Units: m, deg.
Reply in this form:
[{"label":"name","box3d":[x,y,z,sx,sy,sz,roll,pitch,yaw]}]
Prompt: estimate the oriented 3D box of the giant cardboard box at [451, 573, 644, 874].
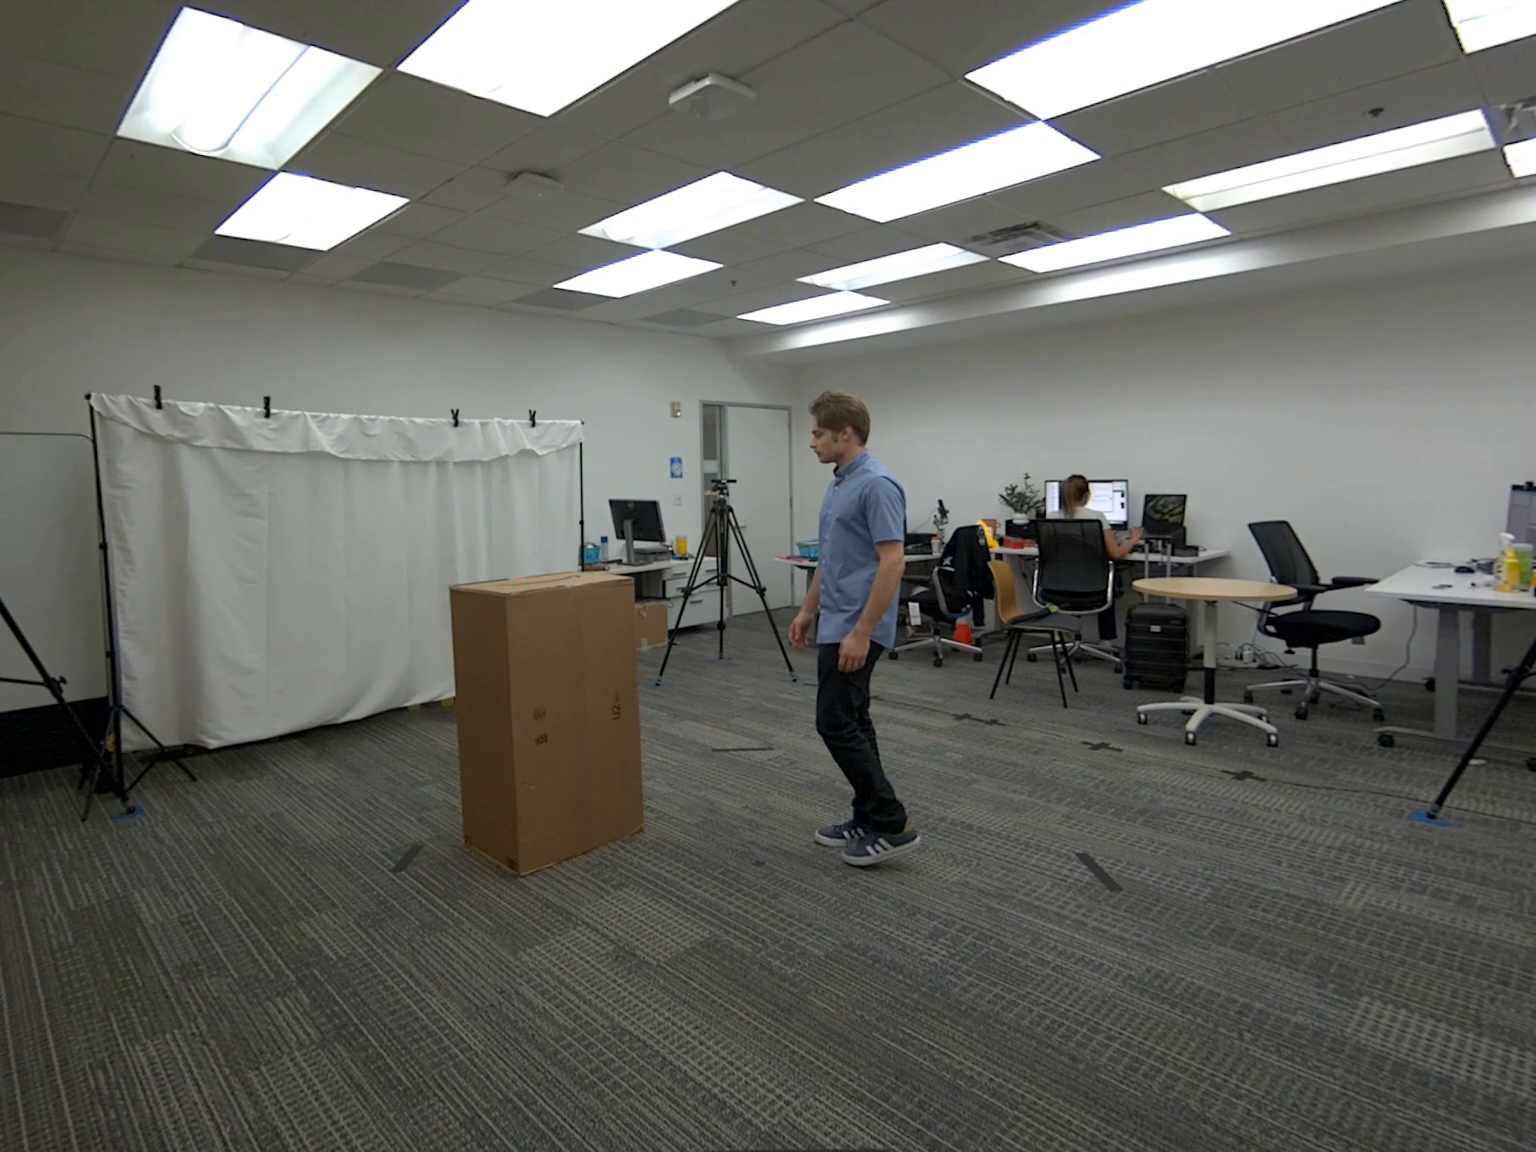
[{"label":"giant cardboard box","box3d":[-0.860,0.528,3.352,0.562,1.022,0.439,-6,6,-45]}]
